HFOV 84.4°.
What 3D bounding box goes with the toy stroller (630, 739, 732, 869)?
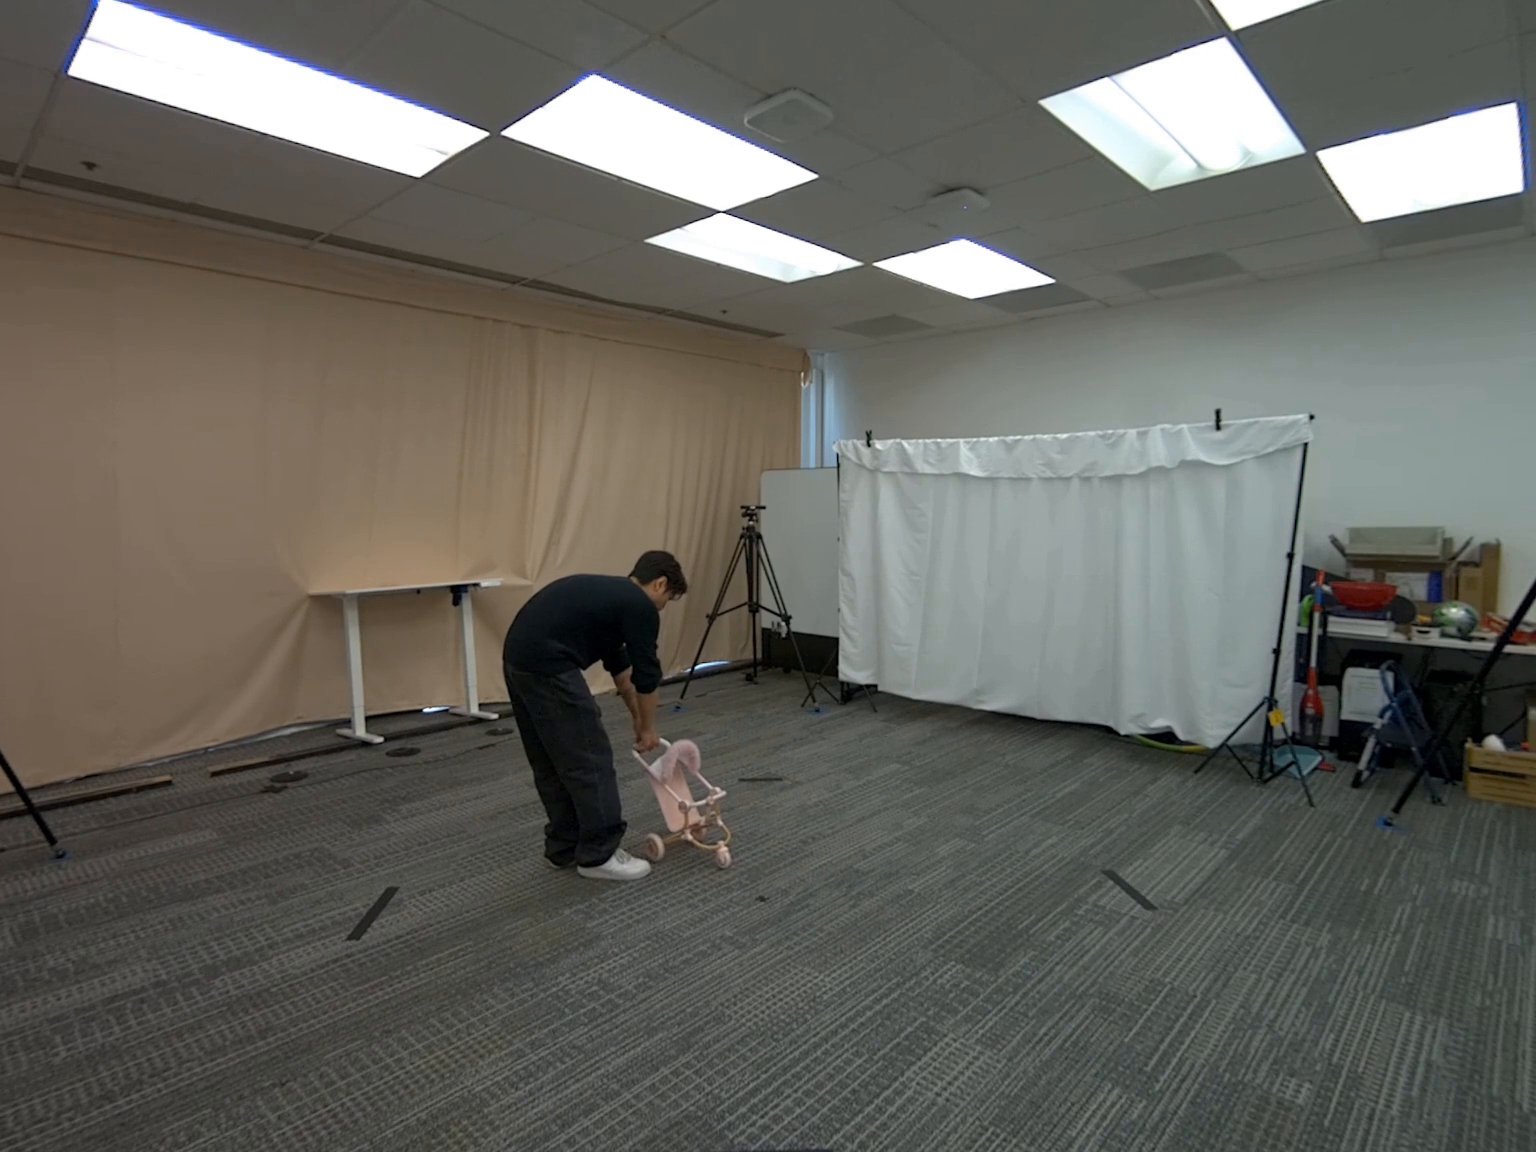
[{"bbox_3d":[-0.324,0.895,3.343,0.349,0.539,0.273,-21,-10,41],"label":"toy stroller"}]
